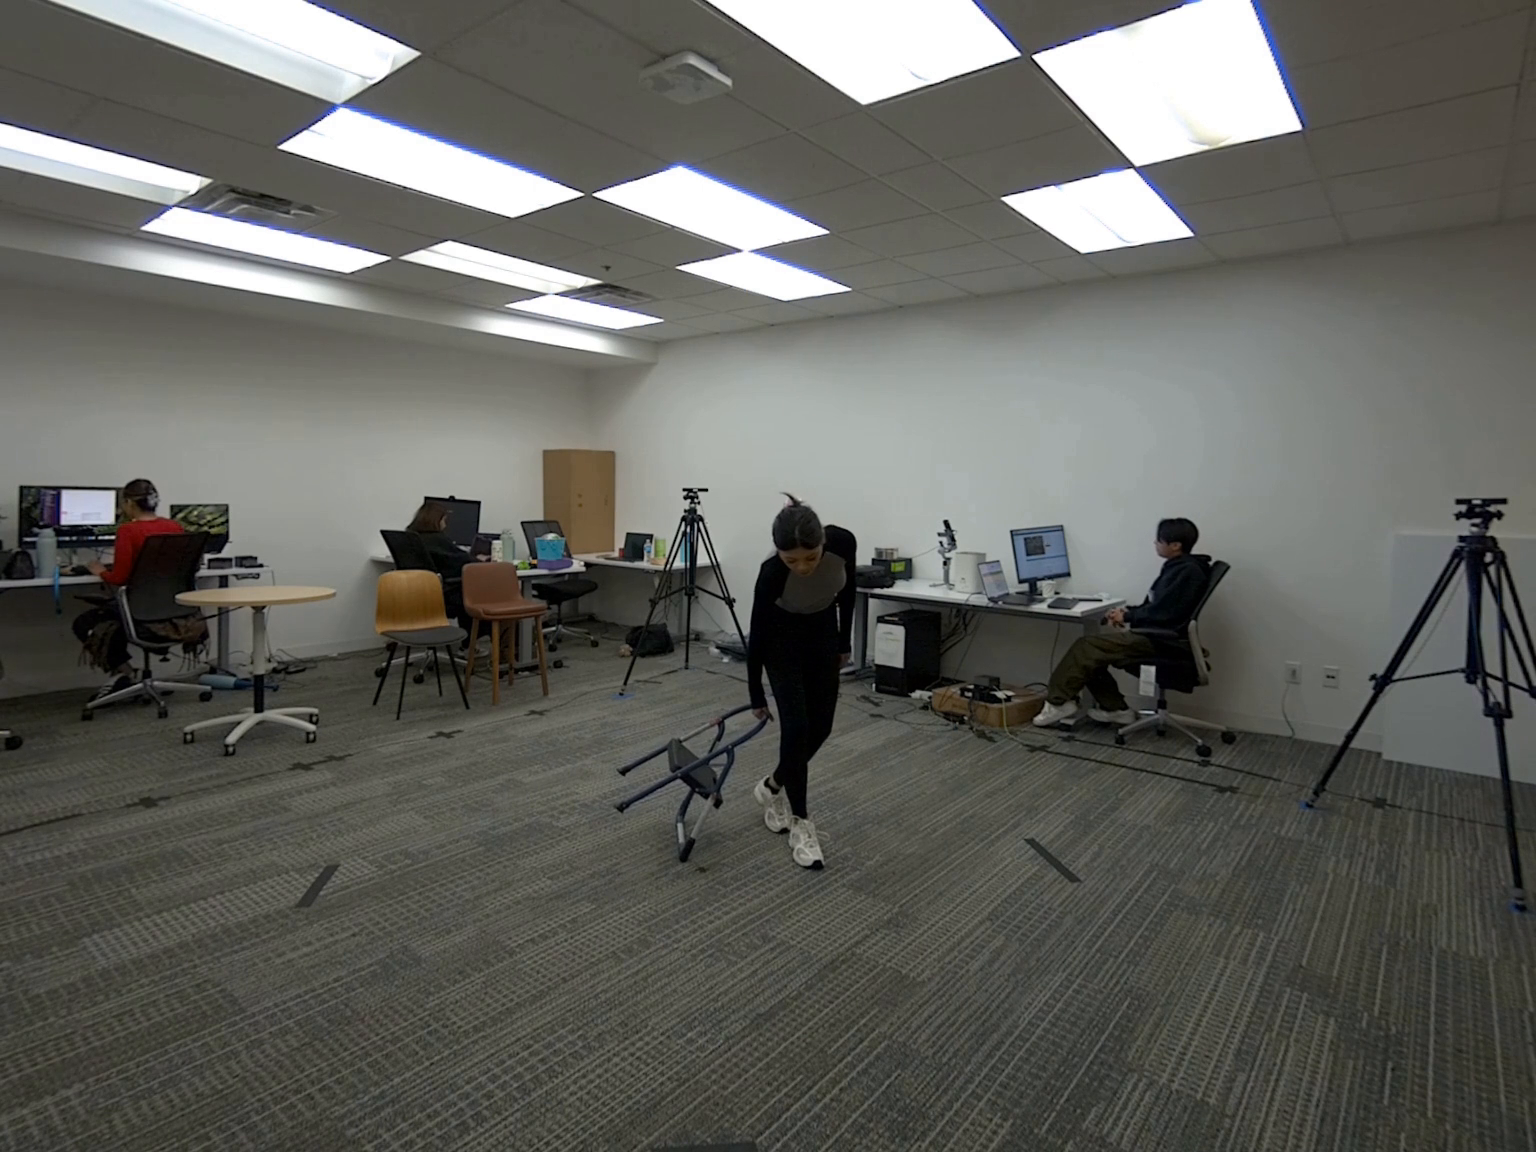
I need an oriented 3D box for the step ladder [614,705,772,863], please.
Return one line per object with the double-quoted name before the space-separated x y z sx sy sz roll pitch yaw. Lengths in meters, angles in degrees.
"step ladder" -0.278 0.715 3.356 0.345 0.606 0.436 41 -1 -9
